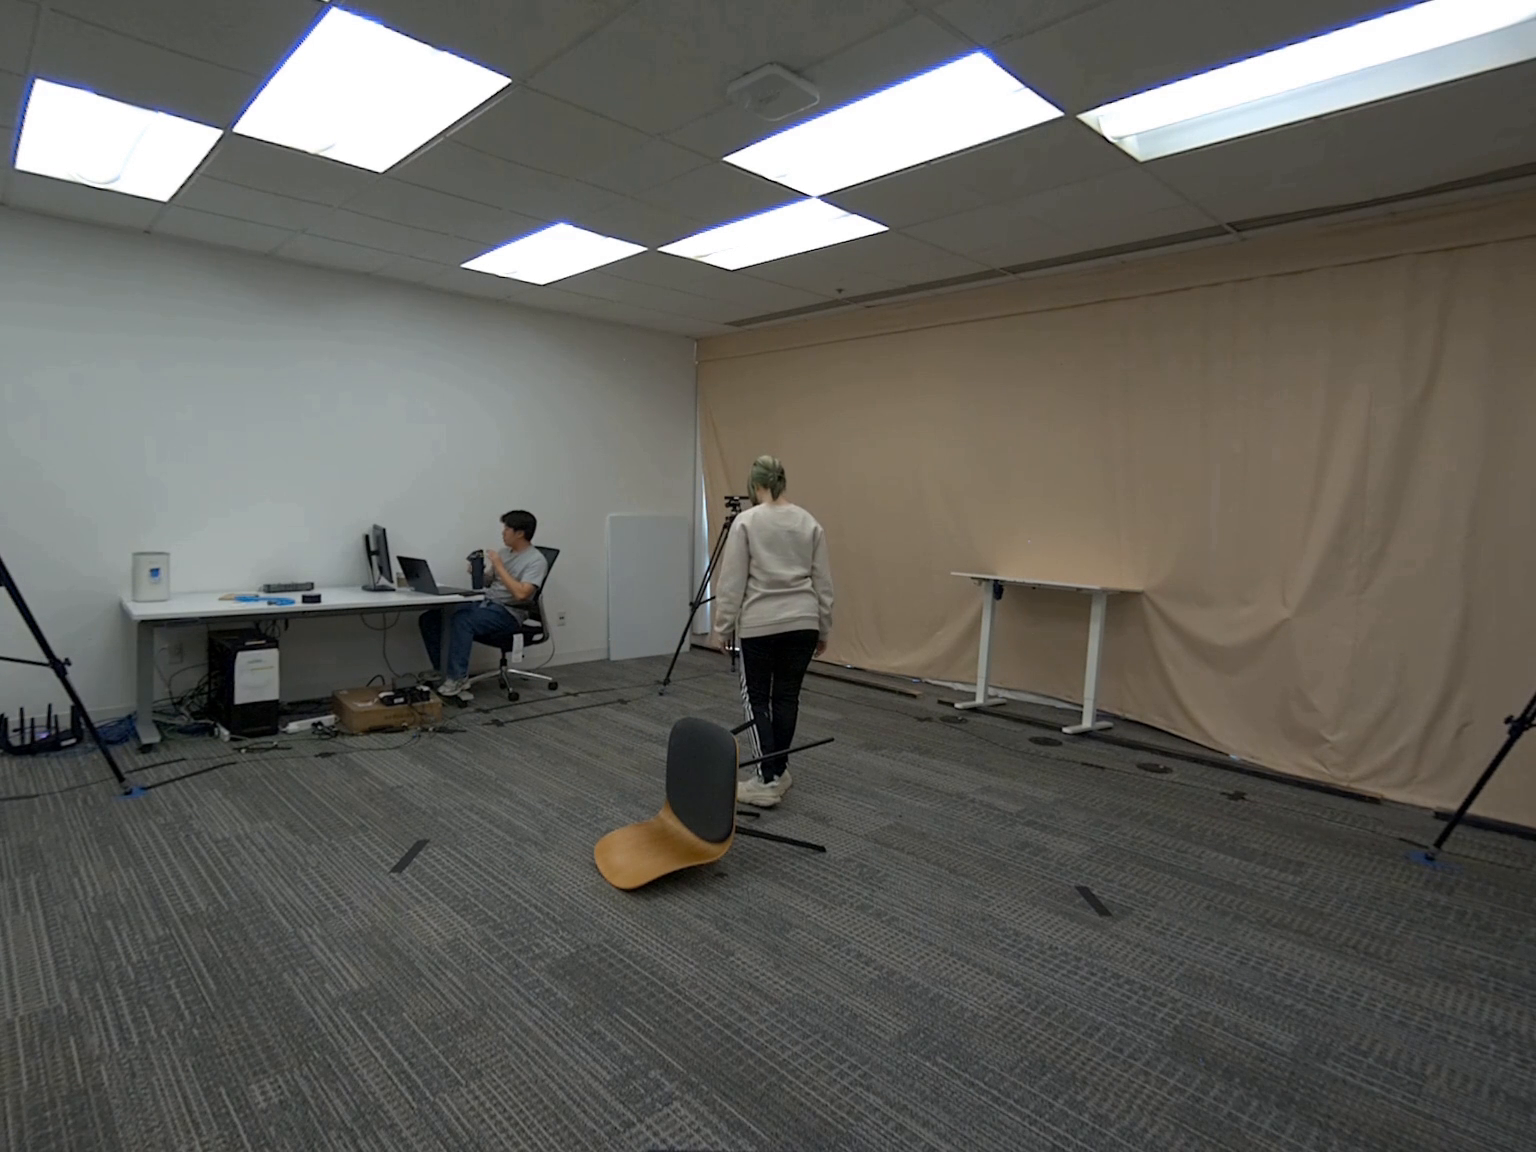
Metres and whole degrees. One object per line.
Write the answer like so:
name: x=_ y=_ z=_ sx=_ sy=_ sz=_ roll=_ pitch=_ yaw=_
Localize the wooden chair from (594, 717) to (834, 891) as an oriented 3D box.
wooden chair: x=-0.234 y=0.830 z=3.262 sx=0.858 sy=0.522 sz=0.490 roll=-3 pitch=5 yaw=-36
